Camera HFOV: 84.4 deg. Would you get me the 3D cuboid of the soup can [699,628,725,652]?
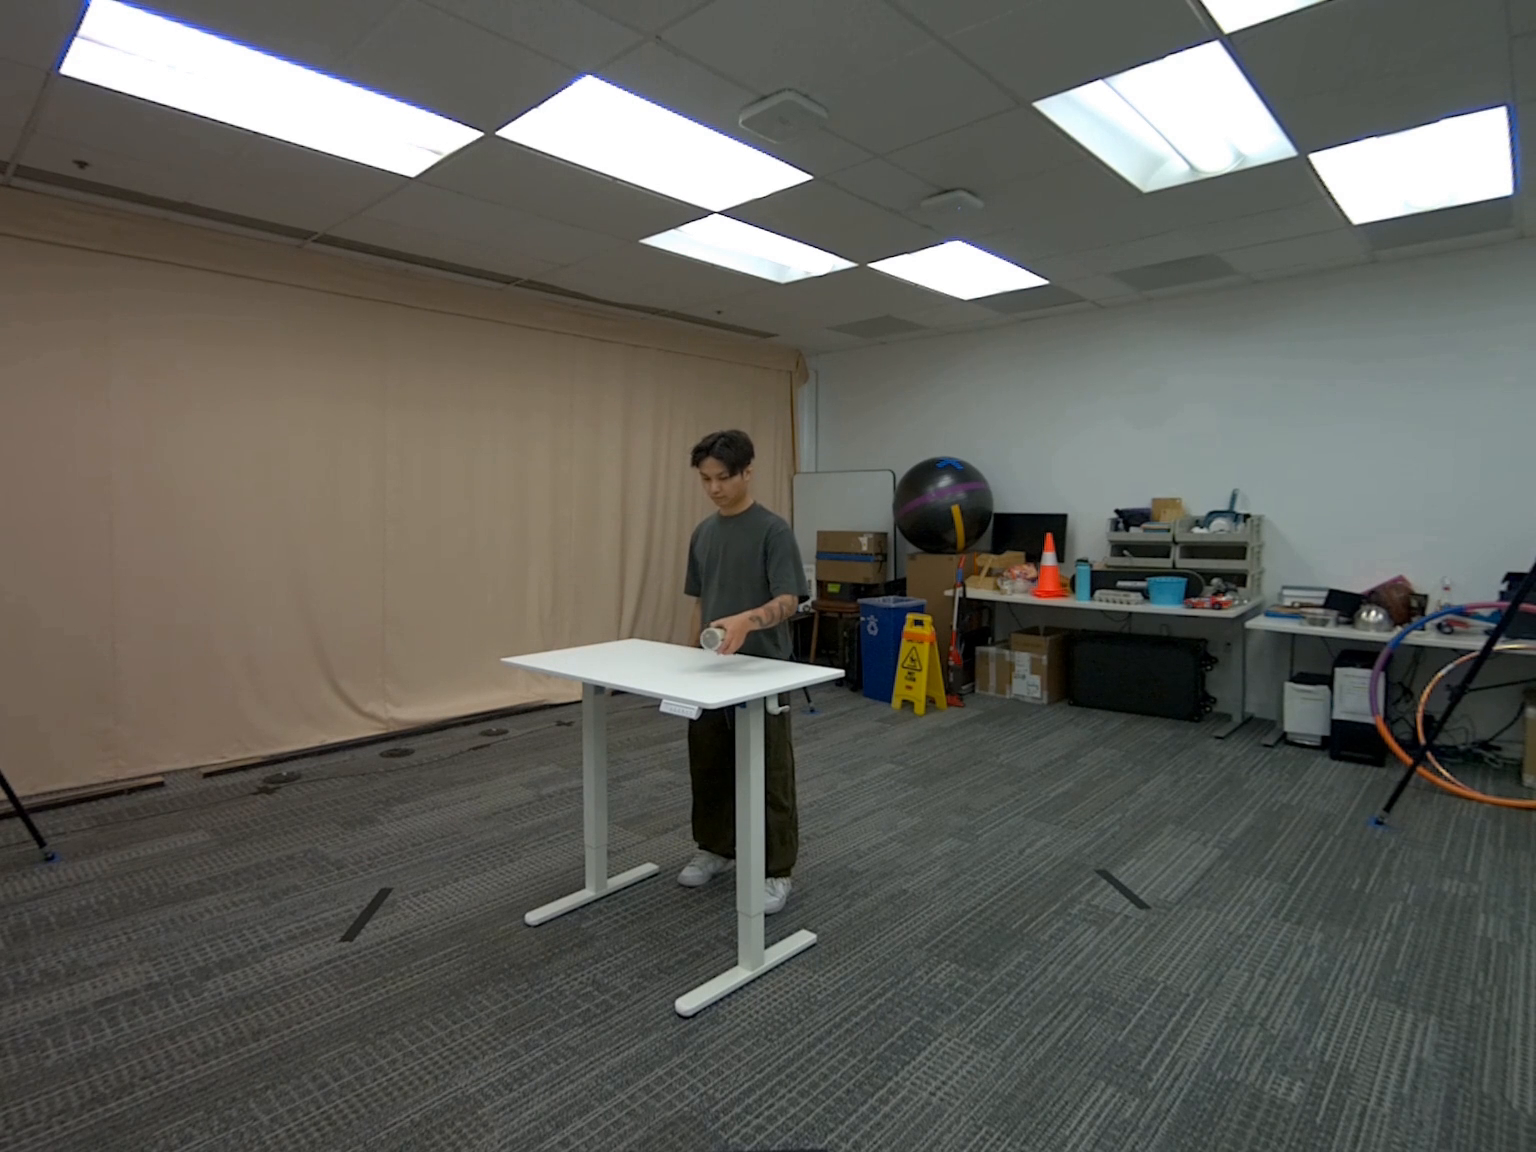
[{"bbox_3d":[-0.163,0.197,2.618,0.068,0.067,0.120,1,1,9],"label":"soup can"}]
